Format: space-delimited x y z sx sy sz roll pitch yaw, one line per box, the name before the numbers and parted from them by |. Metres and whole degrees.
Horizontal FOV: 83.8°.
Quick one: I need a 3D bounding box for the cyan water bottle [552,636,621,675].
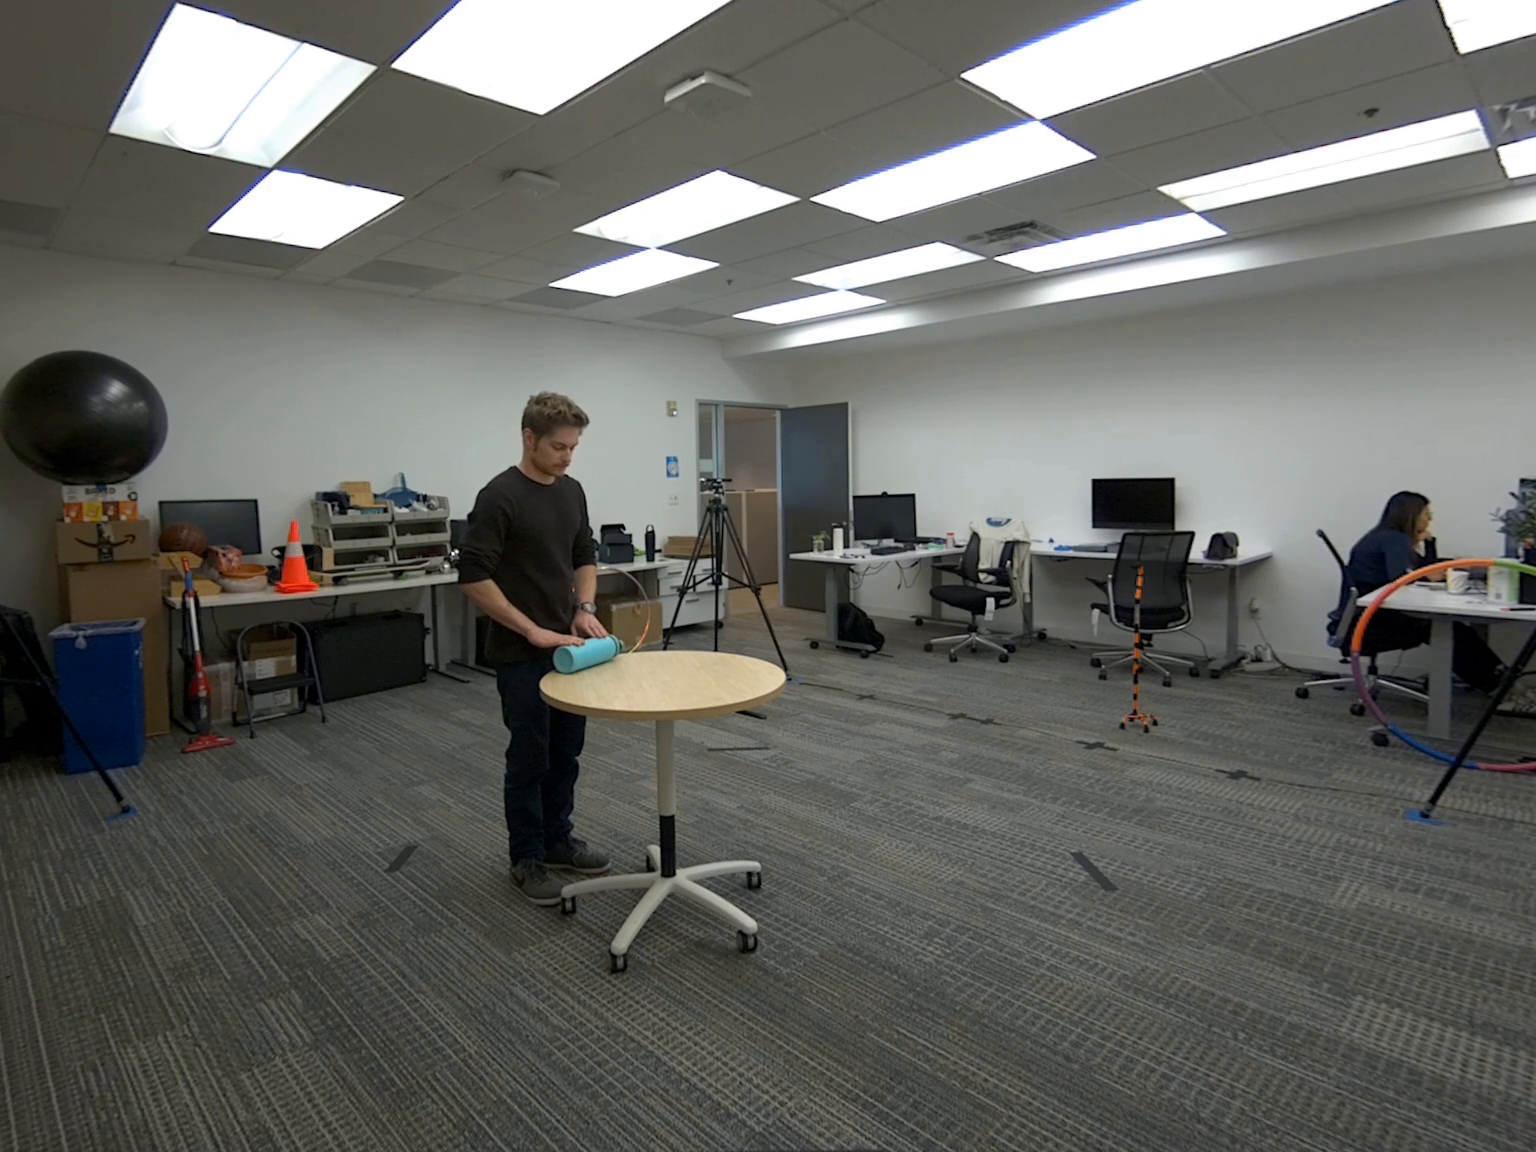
cyan water bottle | -0.587 0.254 2.843 0.094 0.092 0.278 1 7 26
